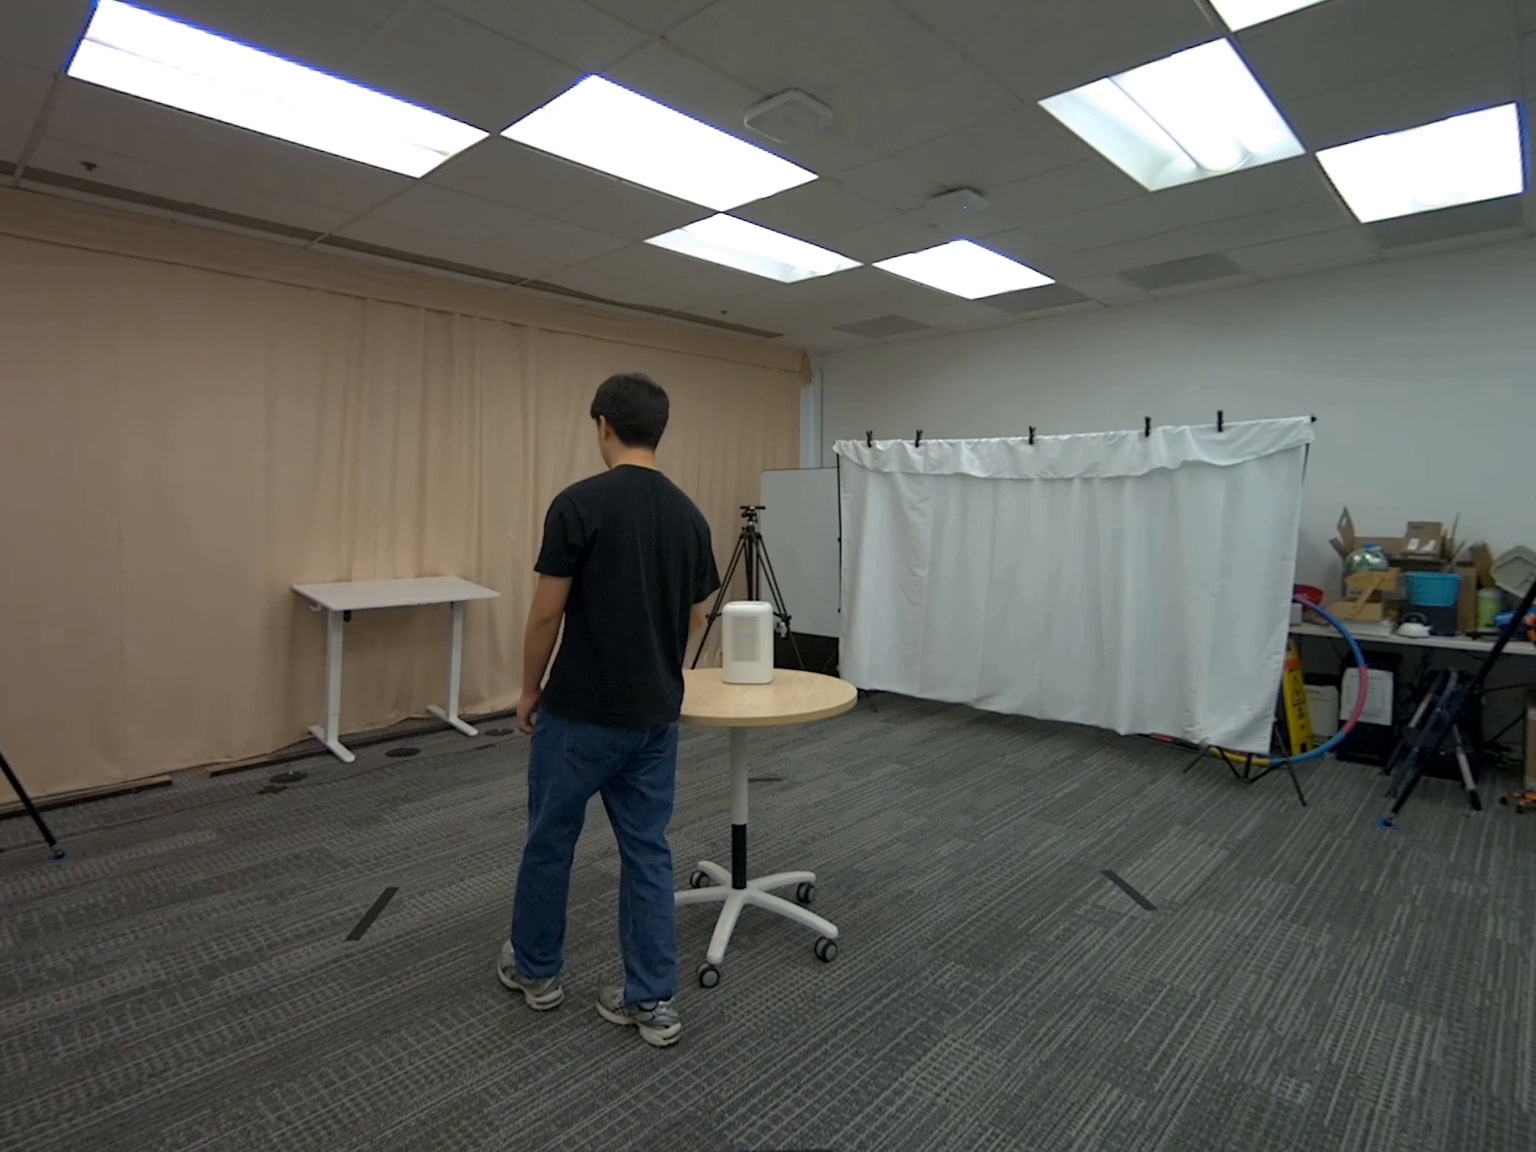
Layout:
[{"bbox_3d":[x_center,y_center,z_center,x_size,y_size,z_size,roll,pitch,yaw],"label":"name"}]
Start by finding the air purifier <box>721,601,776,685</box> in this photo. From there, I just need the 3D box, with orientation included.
[{"bbox_3d":[-0.061,0.226,2.886,0.172,0.265,0.170,2,3,4],"label":"air purifier"}]
